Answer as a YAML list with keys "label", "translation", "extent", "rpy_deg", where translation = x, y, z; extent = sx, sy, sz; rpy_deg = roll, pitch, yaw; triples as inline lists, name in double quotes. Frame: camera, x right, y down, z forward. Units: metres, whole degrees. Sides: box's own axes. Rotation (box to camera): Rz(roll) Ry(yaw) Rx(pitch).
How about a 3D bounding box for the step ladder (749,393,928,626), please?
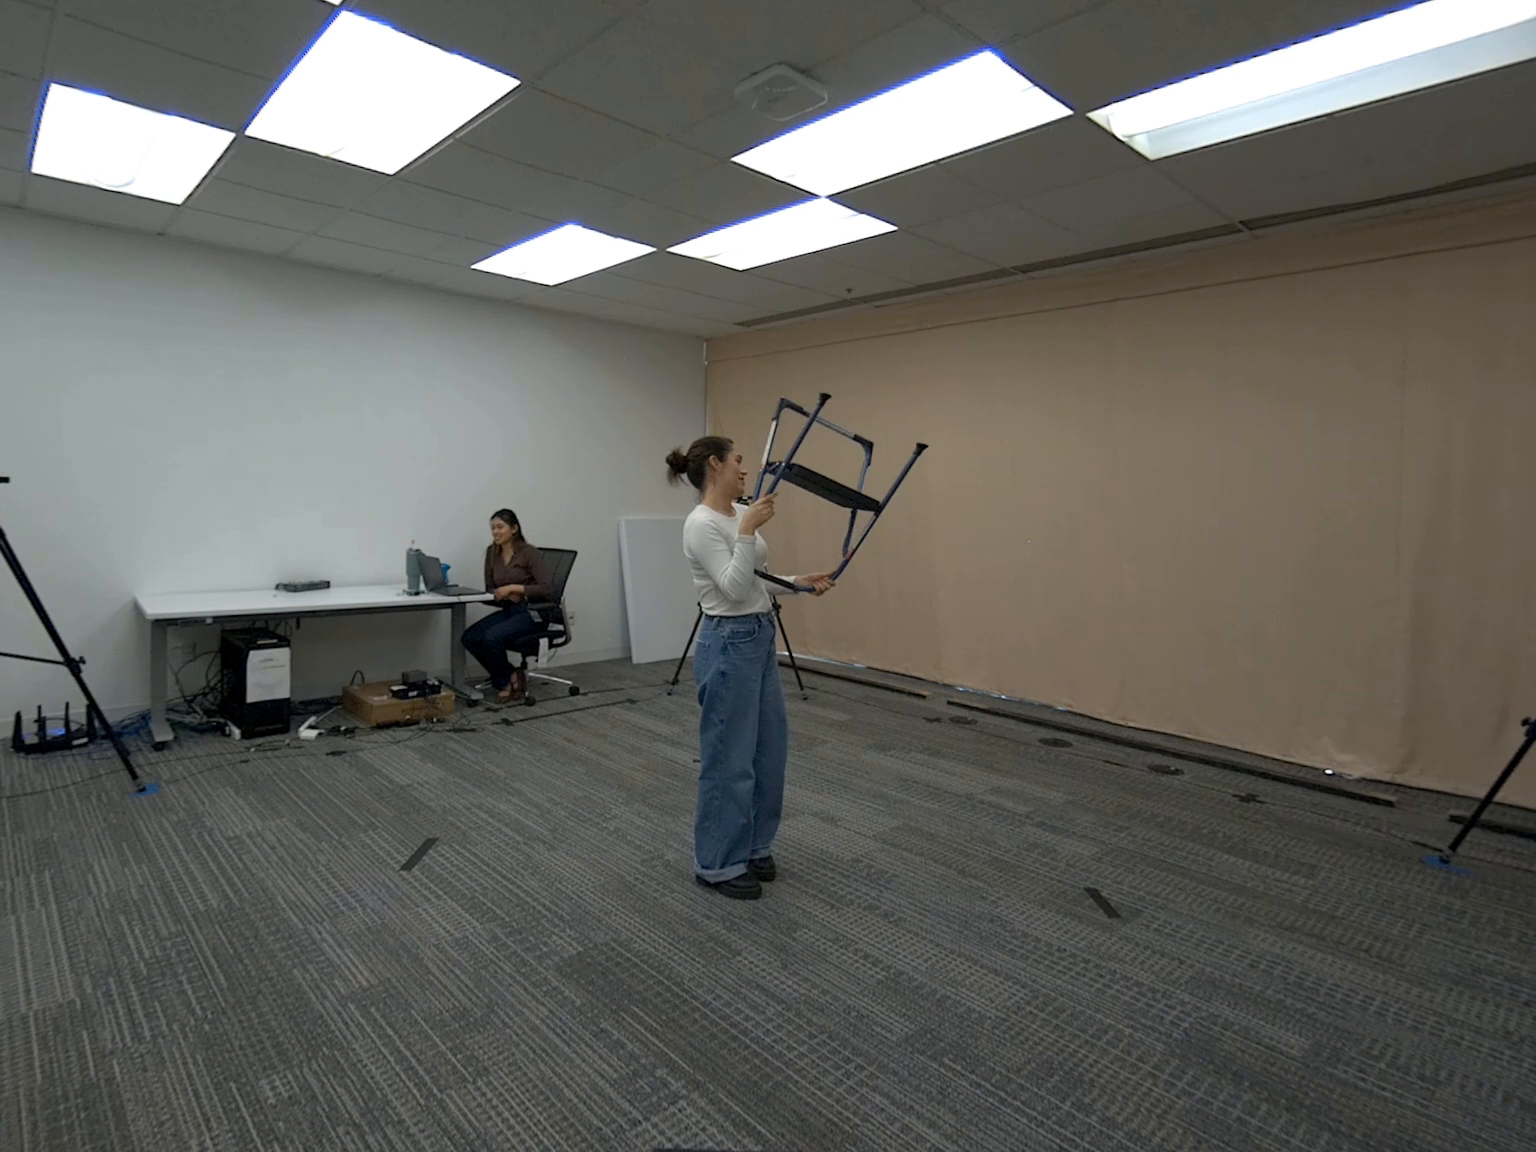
- label: "step ladder"
  translation: [0.163, -0.248, 2.834]
  extent: [0.421, 0.606, 0.357]
  rpy_deg: [22, 0, -24]
